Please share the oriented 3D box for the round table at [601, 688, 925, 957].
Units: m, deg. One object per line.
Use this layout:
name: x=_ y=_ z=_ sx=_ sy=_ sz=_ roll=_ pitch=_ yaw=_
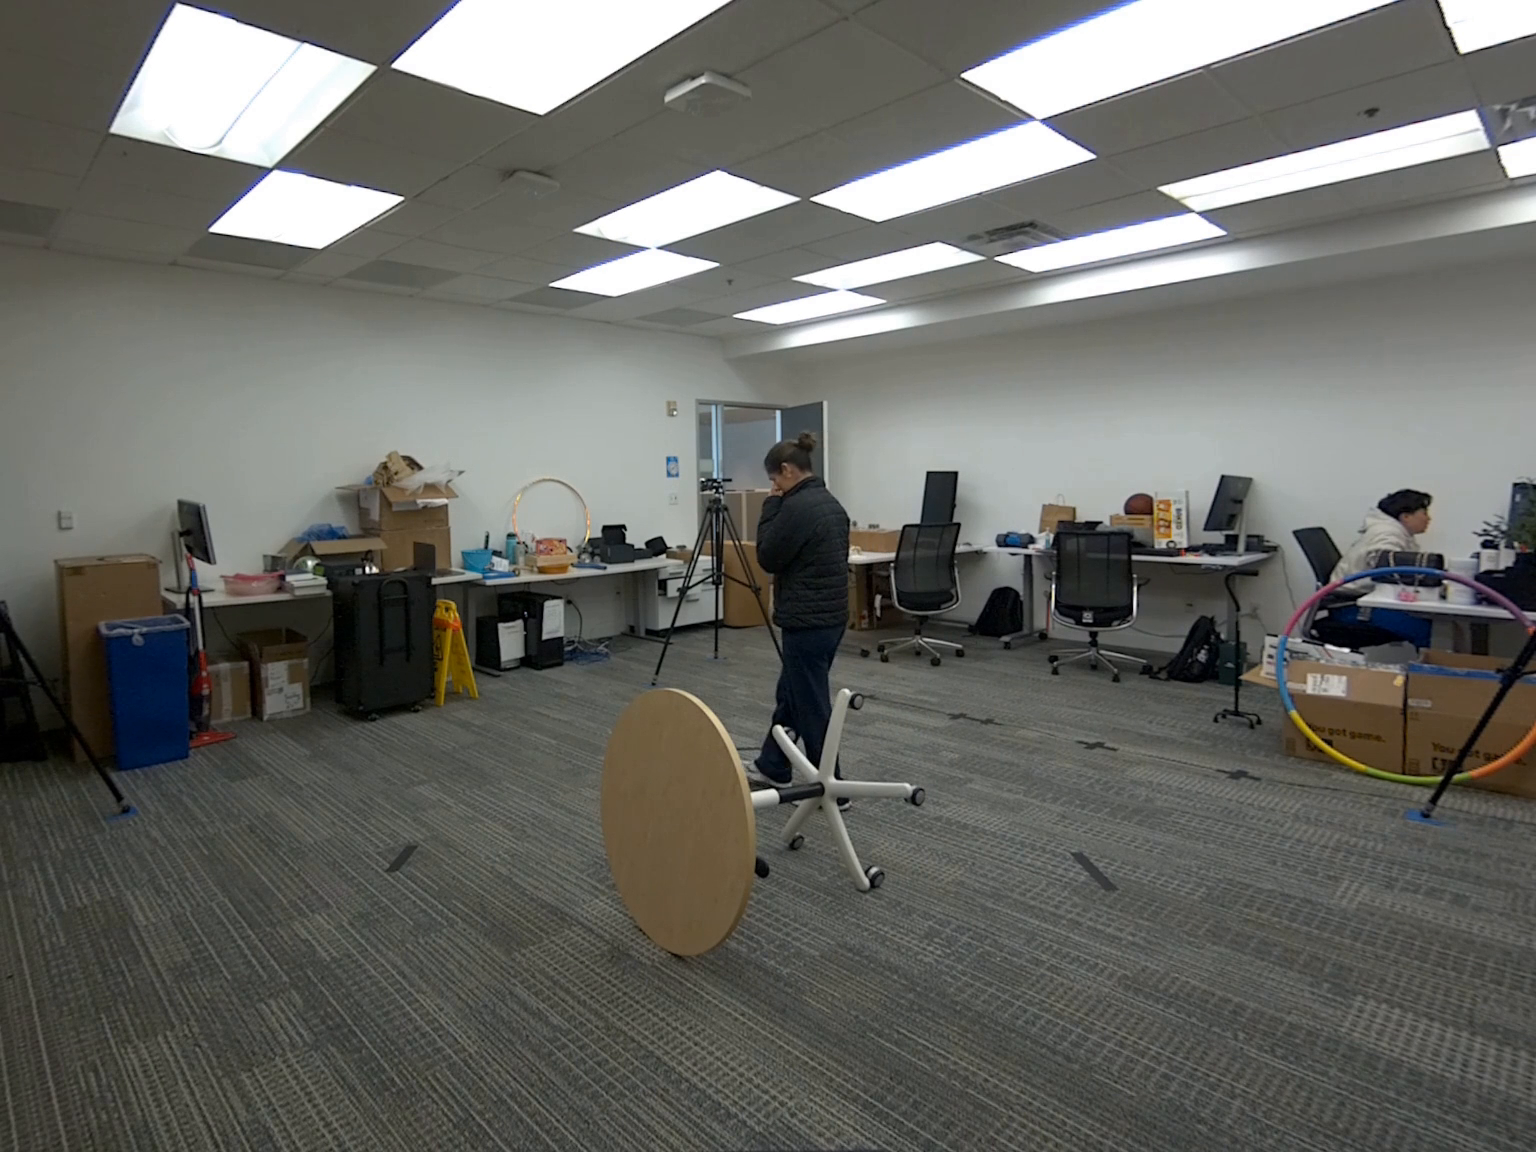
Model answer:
round table: x=-0.008 y=0.739 z=2.831 sx=0.763 sy=0.785 sz=0.809 roll=2 pitch=2 yaw=-40
